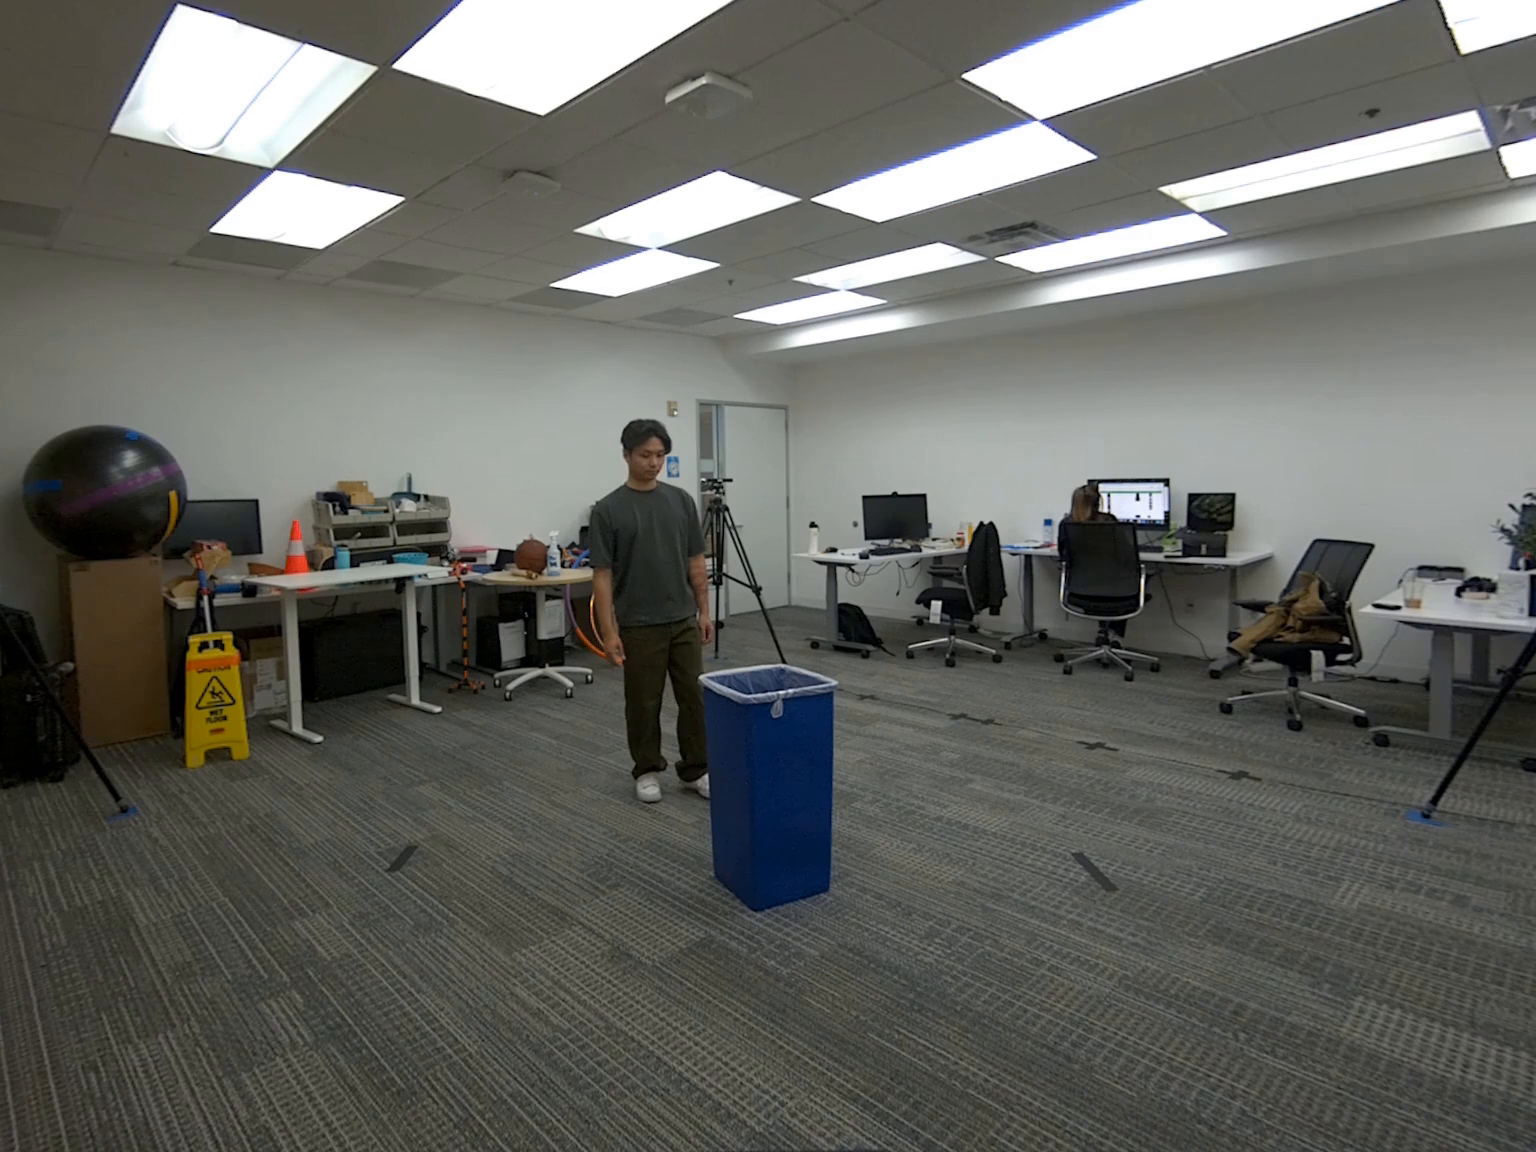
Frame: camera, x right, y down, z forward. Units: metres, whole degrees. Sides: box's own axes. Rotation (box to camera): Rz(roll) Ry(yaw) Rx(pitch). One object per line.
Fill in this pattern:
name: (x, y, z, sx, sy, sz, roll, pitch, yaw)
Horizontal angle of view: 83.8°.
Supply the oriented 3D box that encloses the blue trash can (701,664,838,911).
blue trash can: (0.009, 0.703, 2.941, 0.365, 0.711, 0.388, -3, 4, -29)
